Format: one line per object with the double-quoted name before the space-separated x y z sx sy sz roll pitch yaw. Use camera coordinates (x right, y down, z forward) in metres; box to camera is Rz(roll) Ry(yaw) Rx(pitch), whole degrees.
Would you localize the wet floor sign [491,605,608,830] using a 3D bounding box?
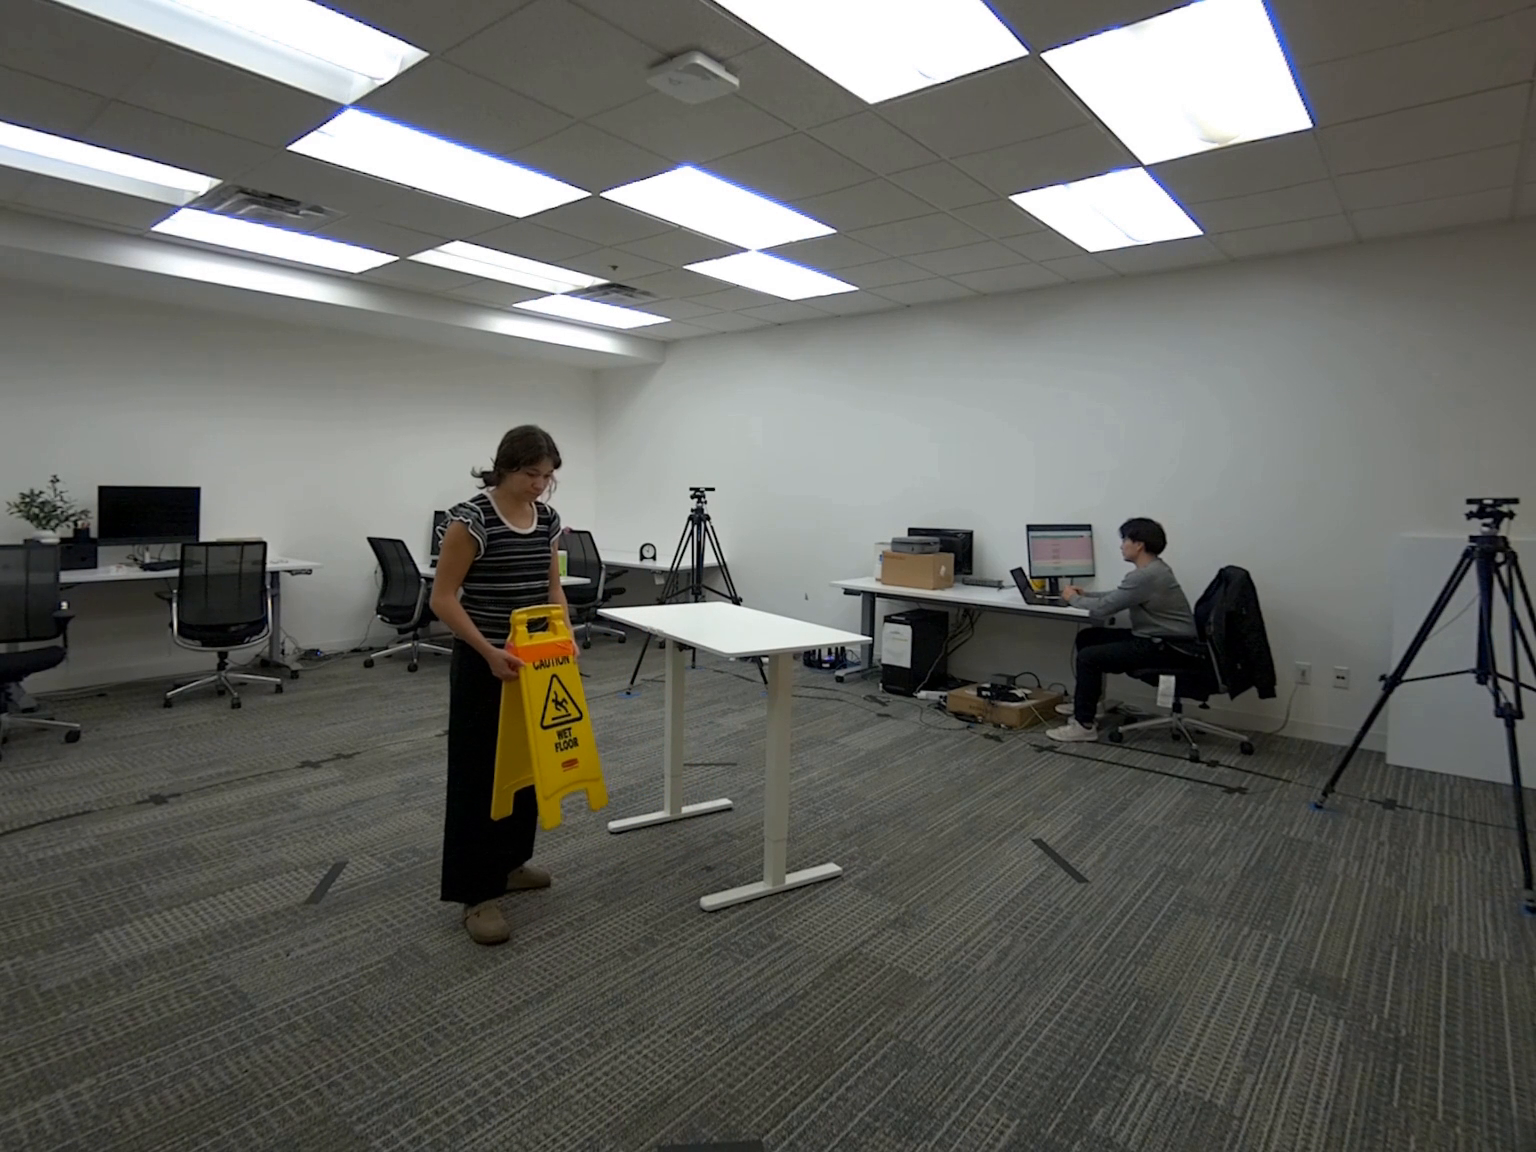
"wet floor sign" -0.726 0.427 2.695 0.298 0.646 0.274 -3 0 37
